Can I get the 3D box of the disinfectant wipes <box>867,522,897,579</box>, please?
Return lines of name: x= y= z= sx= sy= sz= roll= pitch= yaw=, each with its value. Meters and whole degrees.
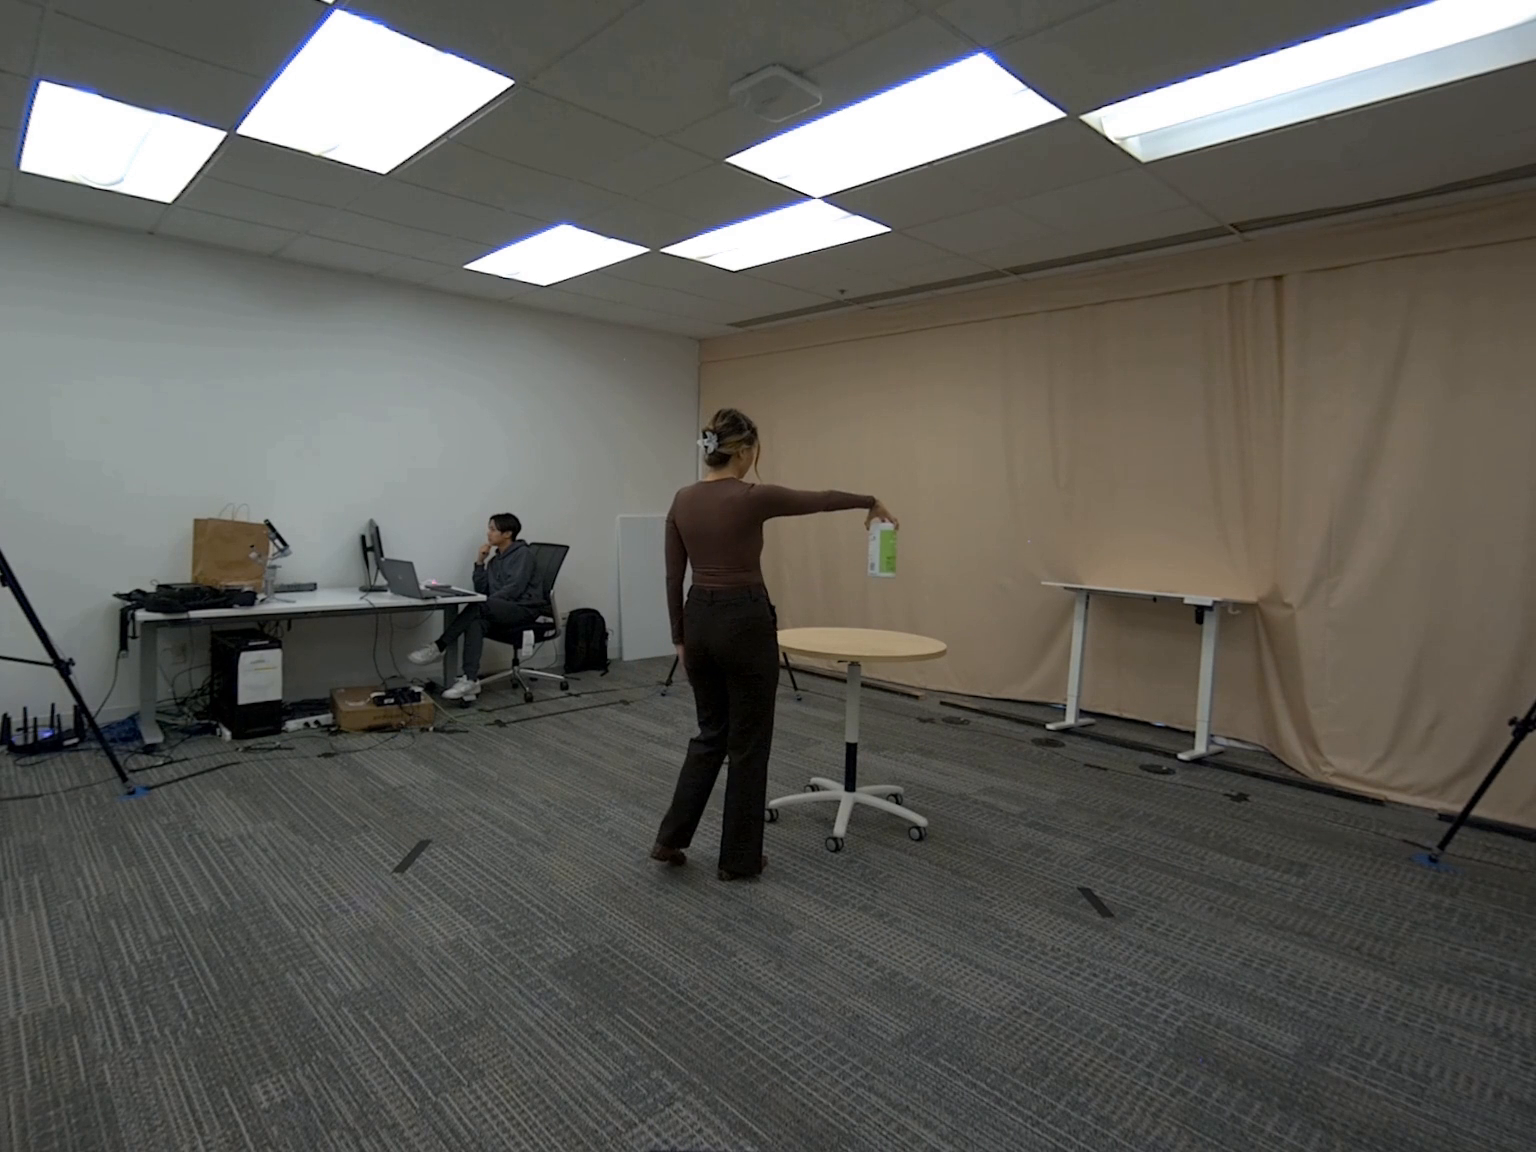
disinfectant wipes: x=0.445 y=-0.100 z=3.324 sx=0.118 sy=0.217 sz=0.118 roll=2 pitch=0 yaw=-1
